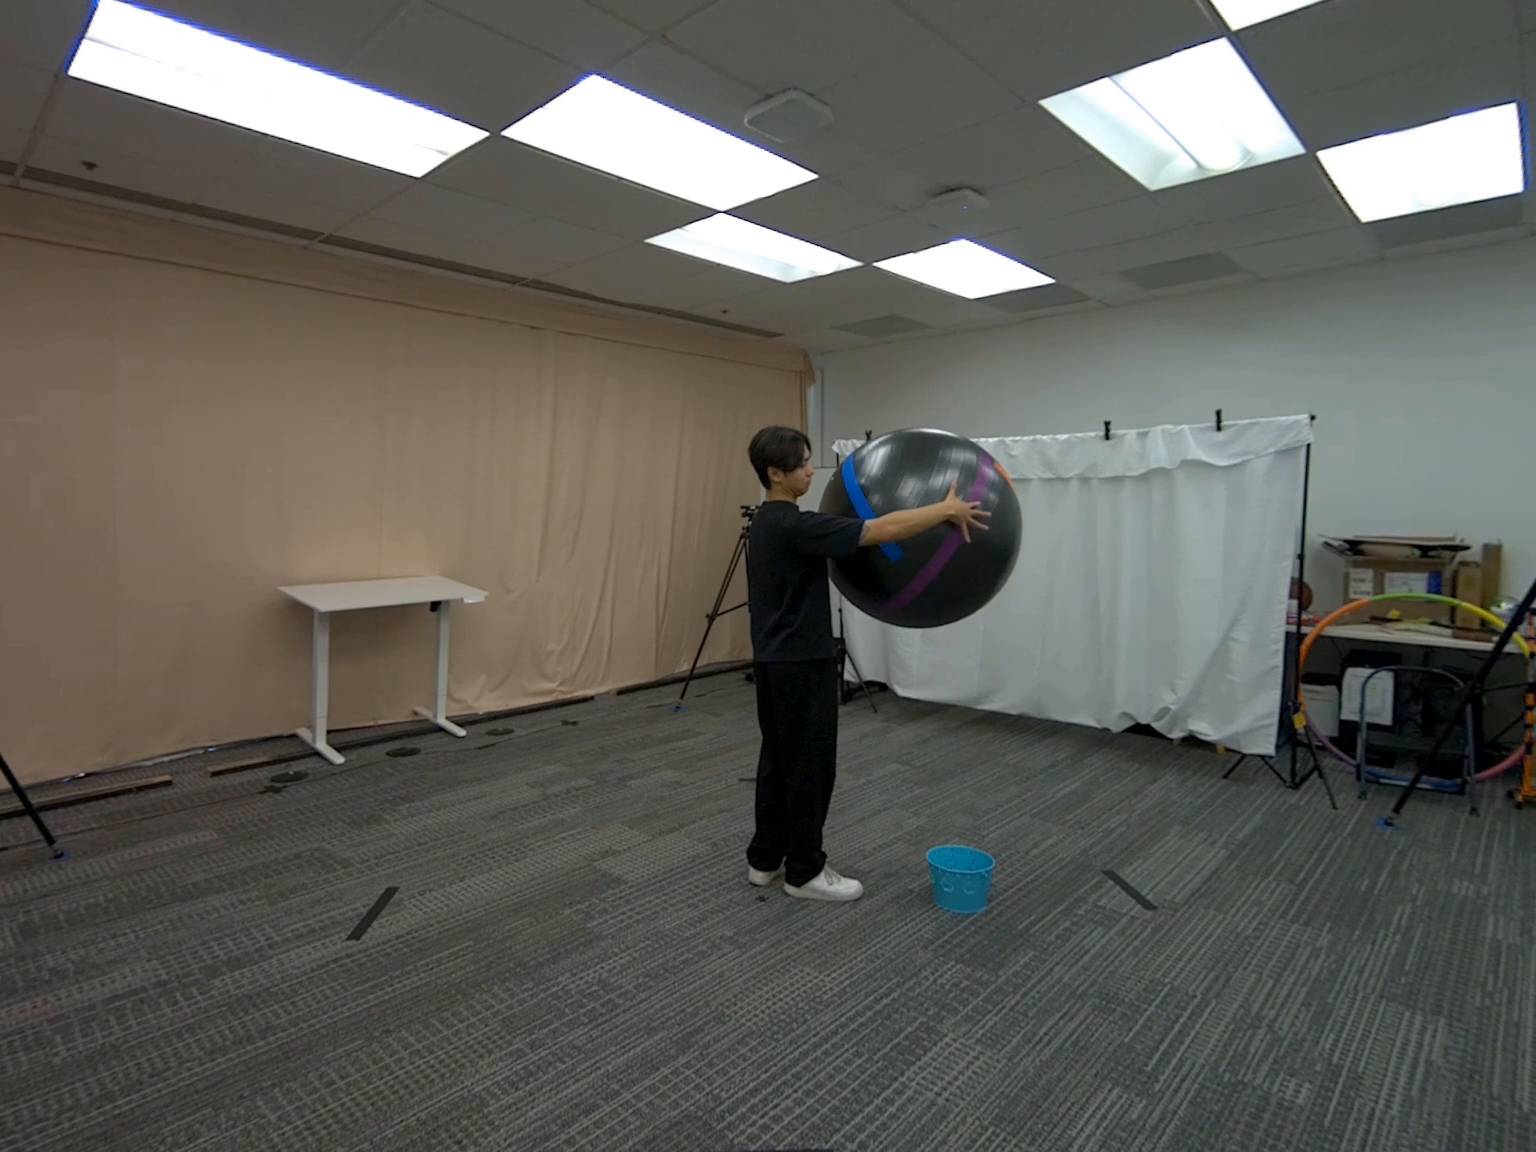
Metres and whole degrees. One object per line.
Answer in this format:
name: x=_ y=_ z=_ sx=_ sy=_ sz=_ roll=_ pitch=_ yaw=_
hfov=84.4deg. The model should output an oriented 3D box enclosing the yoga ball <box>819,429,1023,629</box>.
yoga ball: x=0.583 y=-0.178 z=3.218 sx=0.757 sy=0.756 sz=0.760 roll=0 pitch=4 yaw=-2
